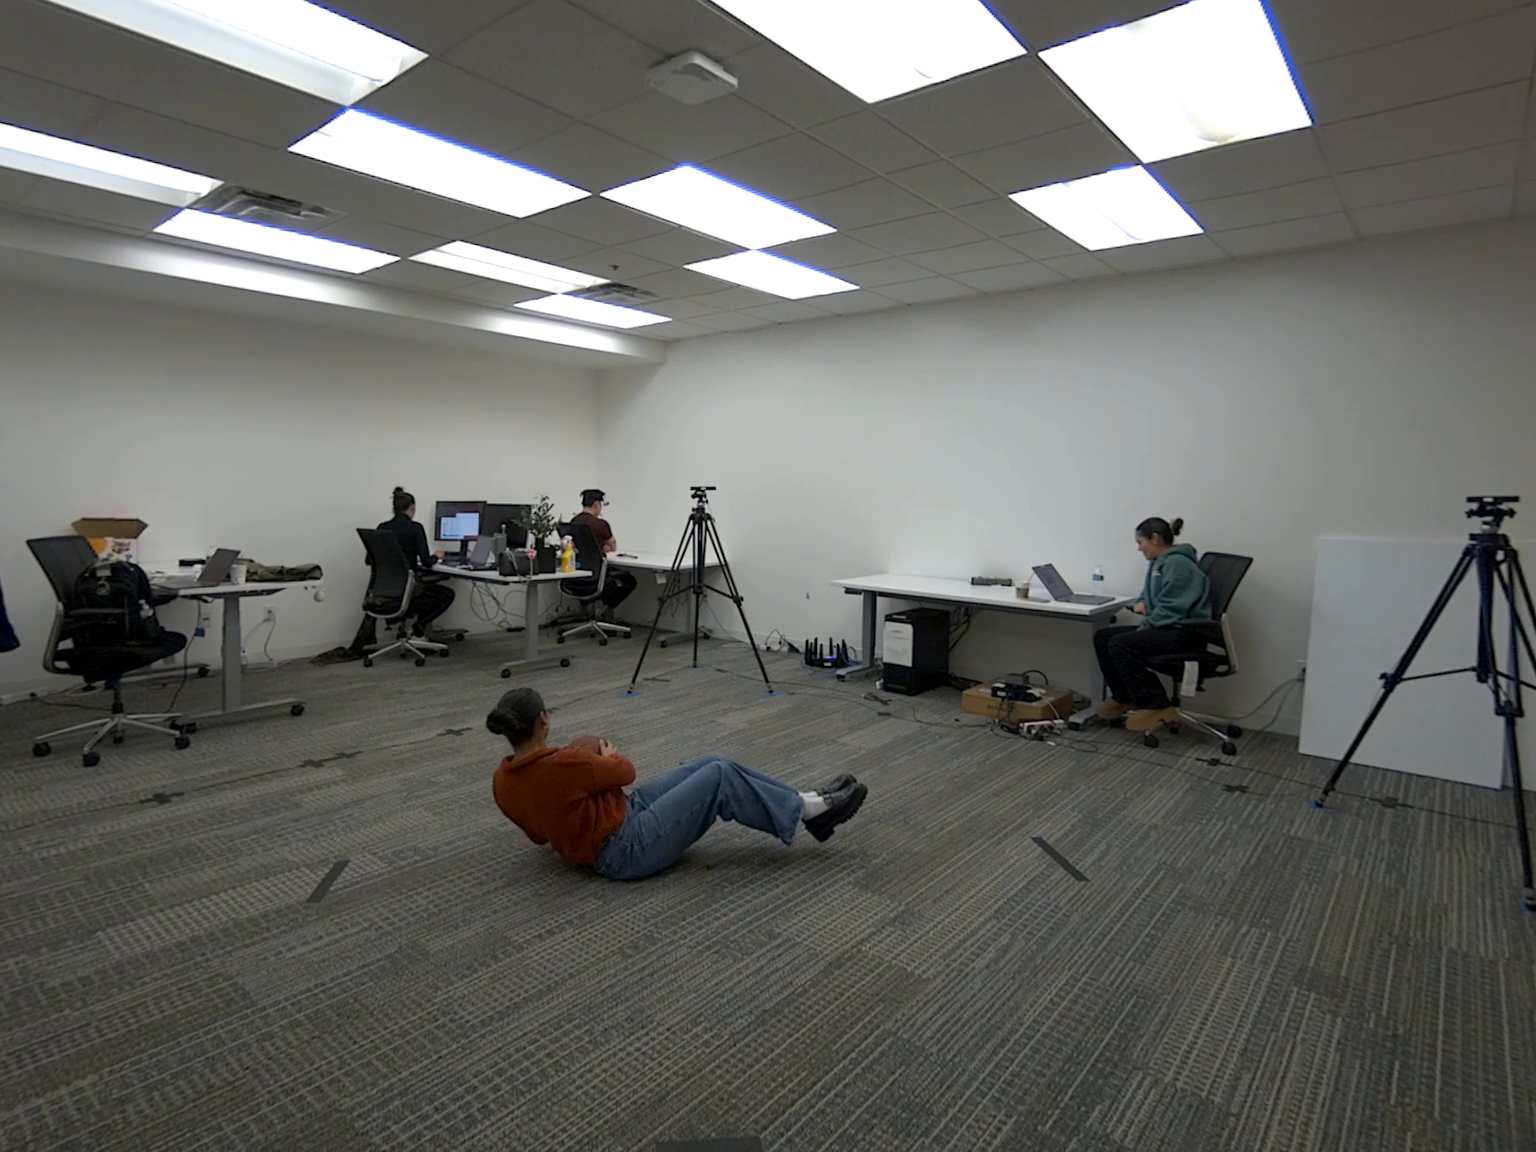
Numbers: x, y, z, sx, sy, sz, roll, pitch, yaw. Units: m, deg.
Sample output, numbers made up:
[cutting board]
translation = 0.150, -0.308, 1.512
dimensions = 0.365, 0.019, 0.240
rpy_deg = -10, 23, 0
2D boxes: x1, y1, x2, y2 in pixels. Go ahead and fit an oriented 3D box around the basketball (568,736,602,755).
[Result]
[basketball]
translation = -0.738, 0.760, 3.485
dimensions = 0.235, 0.235, 0.237
rpy_deg = 1, 4, -2
